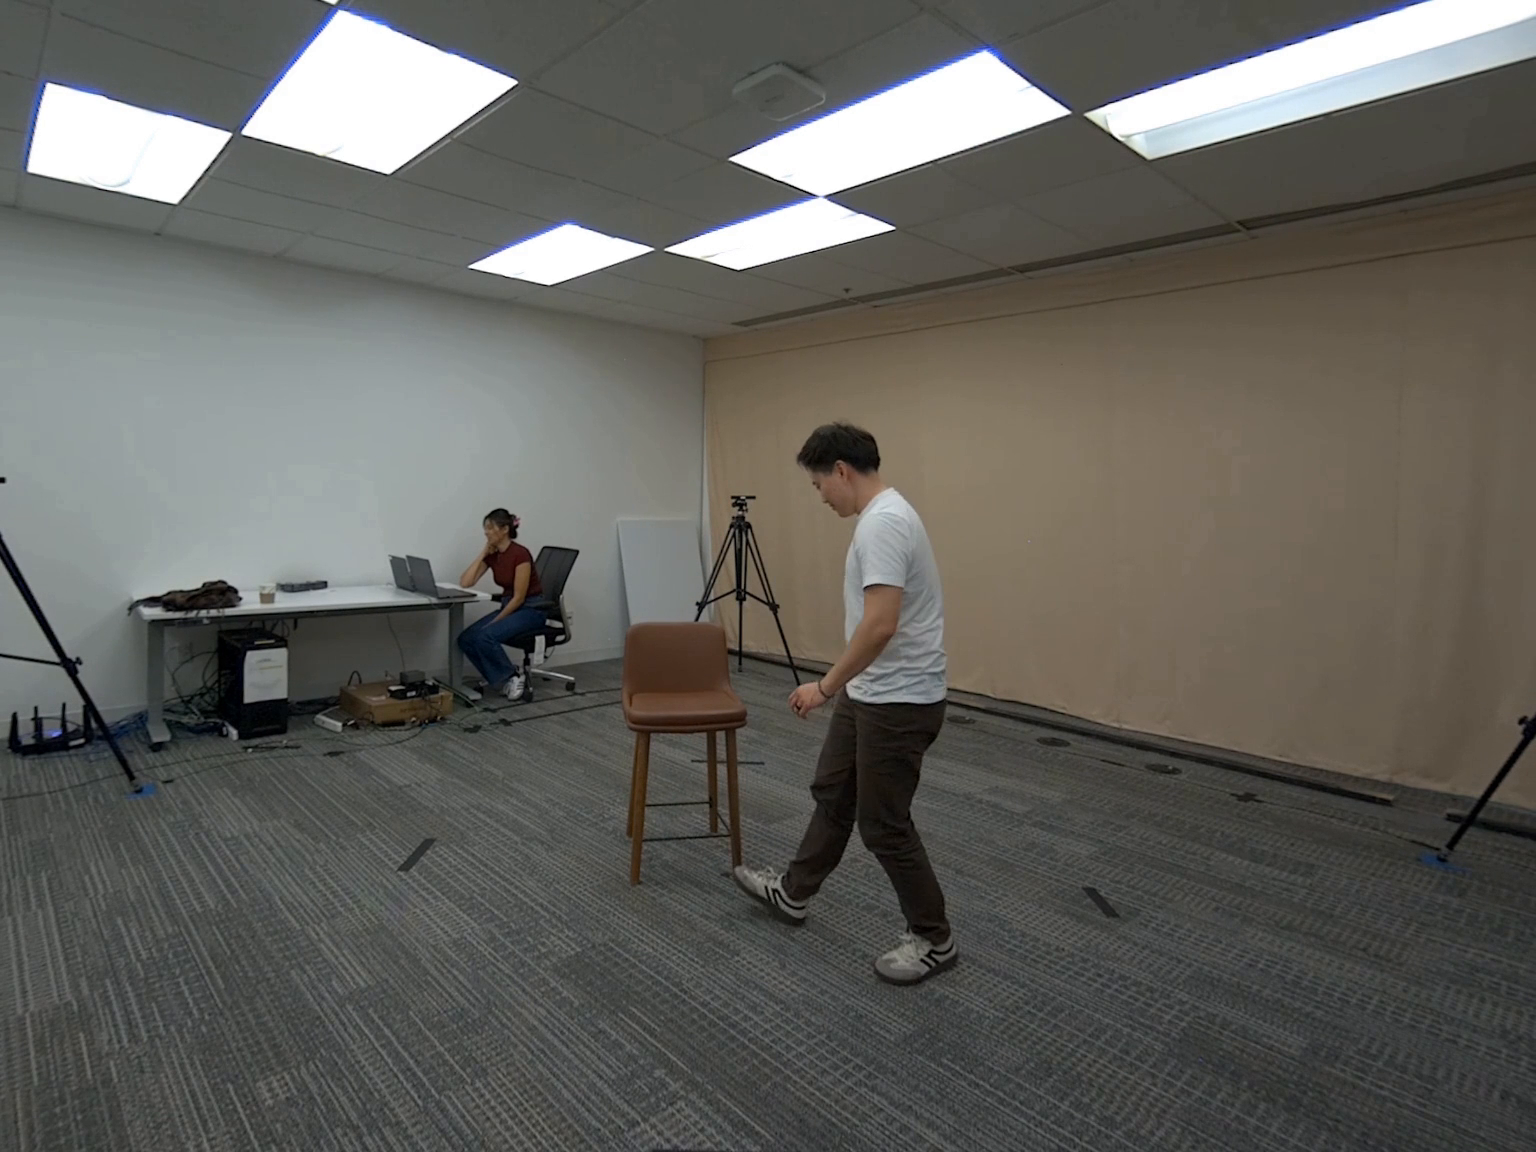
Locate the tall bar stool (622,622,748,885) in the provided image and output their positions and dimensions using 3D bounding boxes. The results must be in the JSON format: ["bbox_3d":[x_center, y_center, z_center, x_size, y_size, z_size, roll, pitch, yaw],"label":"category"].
[{"bbox_3d":[-0.341,0.649,3.246,0.452,0.889,0.473,1,2,-13],"label":"tall bar stool"}]
